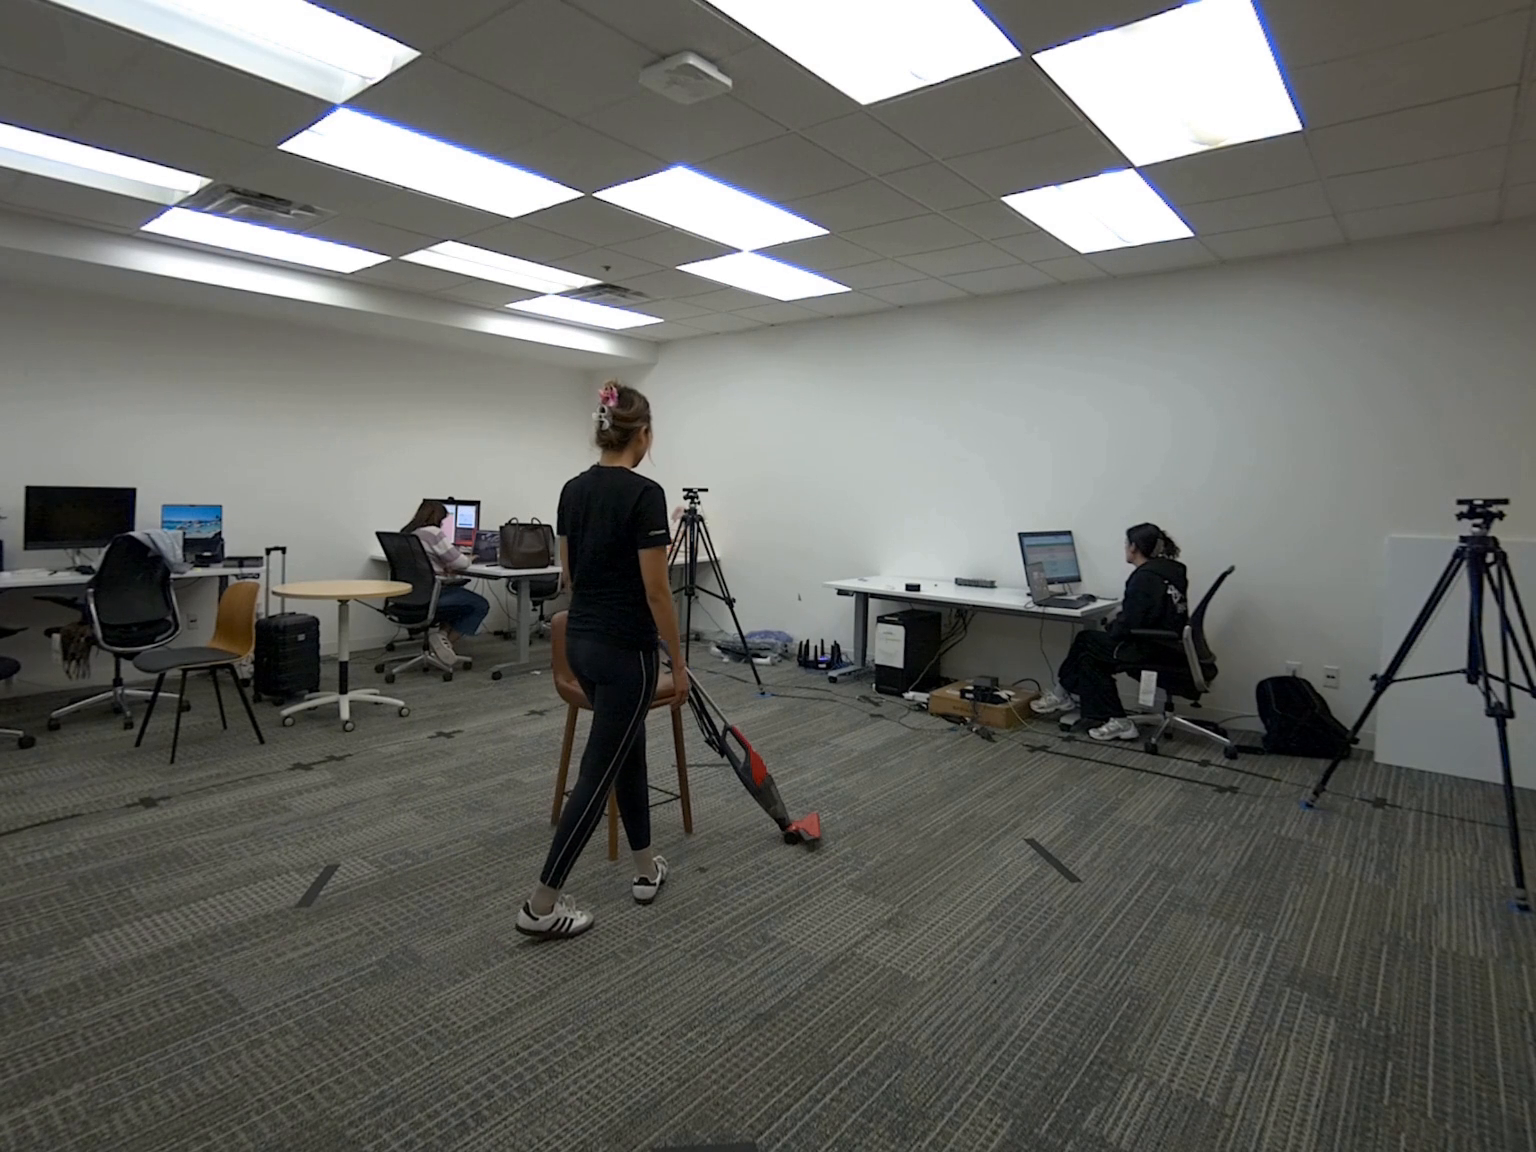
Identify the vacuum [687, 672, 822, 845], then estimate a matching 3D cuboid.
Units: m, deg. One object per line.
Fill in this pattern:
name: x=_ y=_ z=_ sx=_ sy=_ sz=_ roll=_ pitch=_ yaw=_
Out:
vacuum: x=-0.190 y=0.628 z=3.415 sx=0.144 sy=1.052 sz=0.252 roll=-40 pitch=-2 yaw=4
